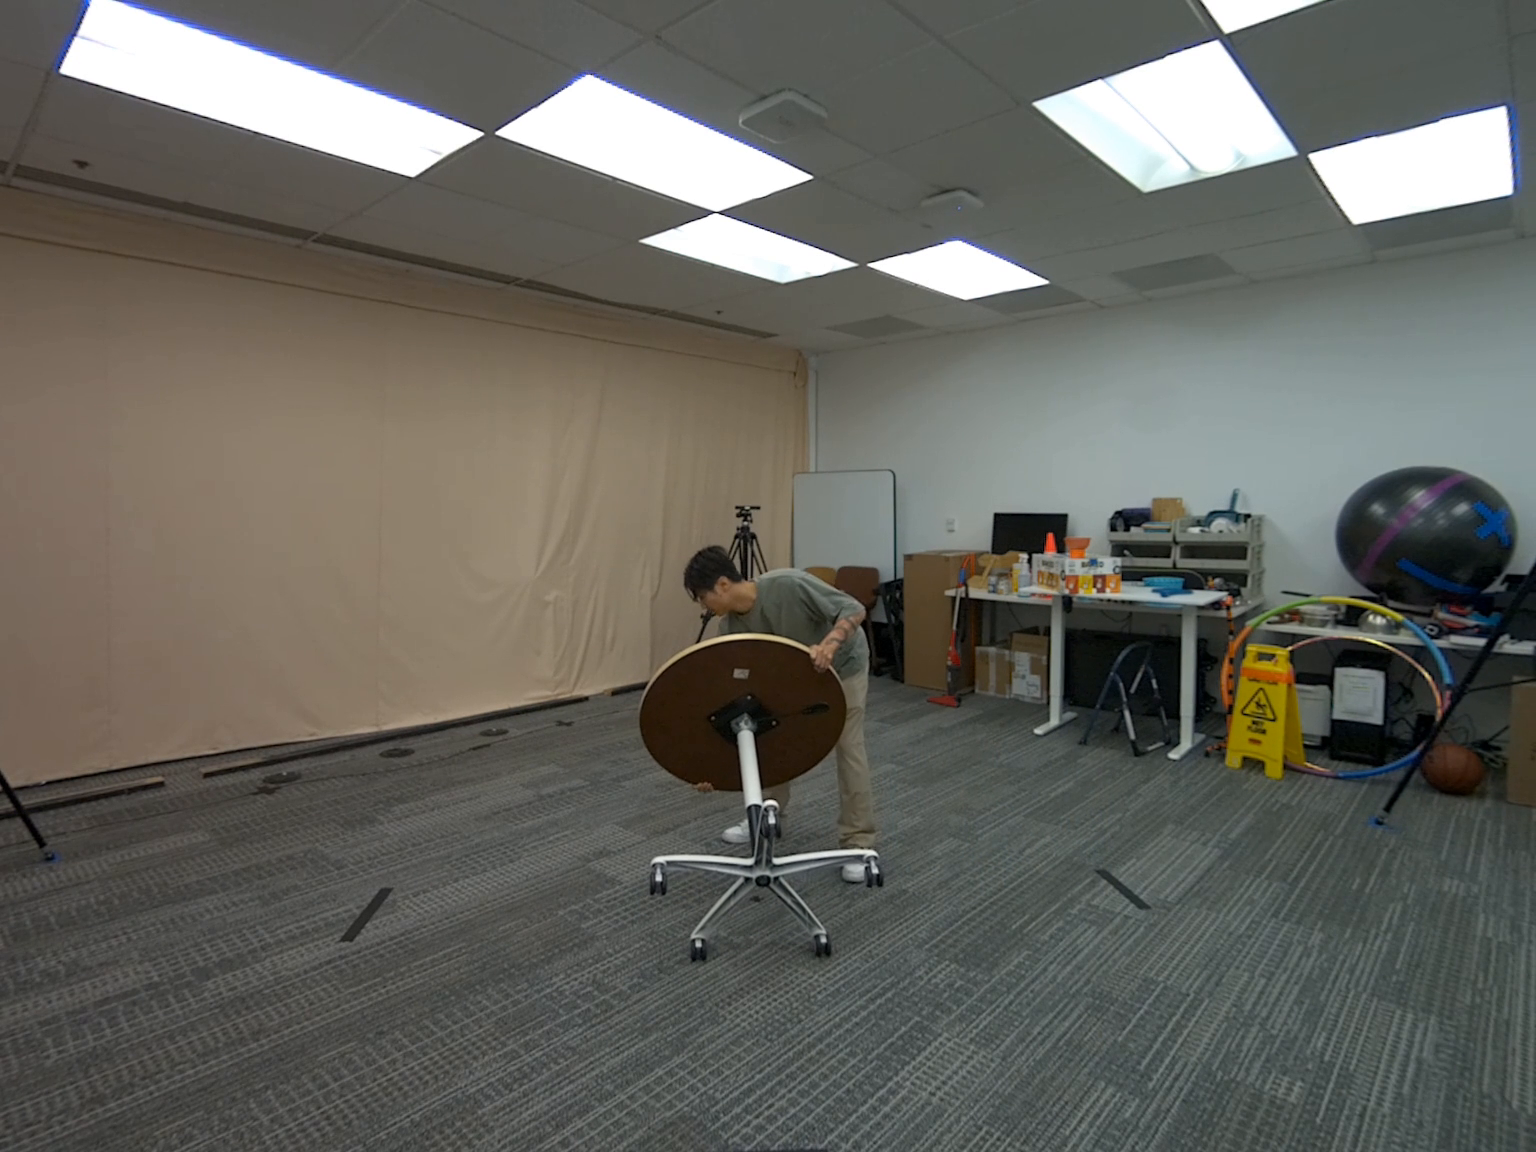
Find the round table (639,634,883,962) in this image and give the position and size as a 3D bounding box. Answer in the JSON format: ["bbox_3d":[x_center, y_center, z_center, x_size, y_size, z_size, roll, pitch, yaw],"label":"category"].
[{"bbox_3d":[-0.051,0.727,2.773,0.781,0.773,0.803,0,33,-6],"label":"round table"}]
